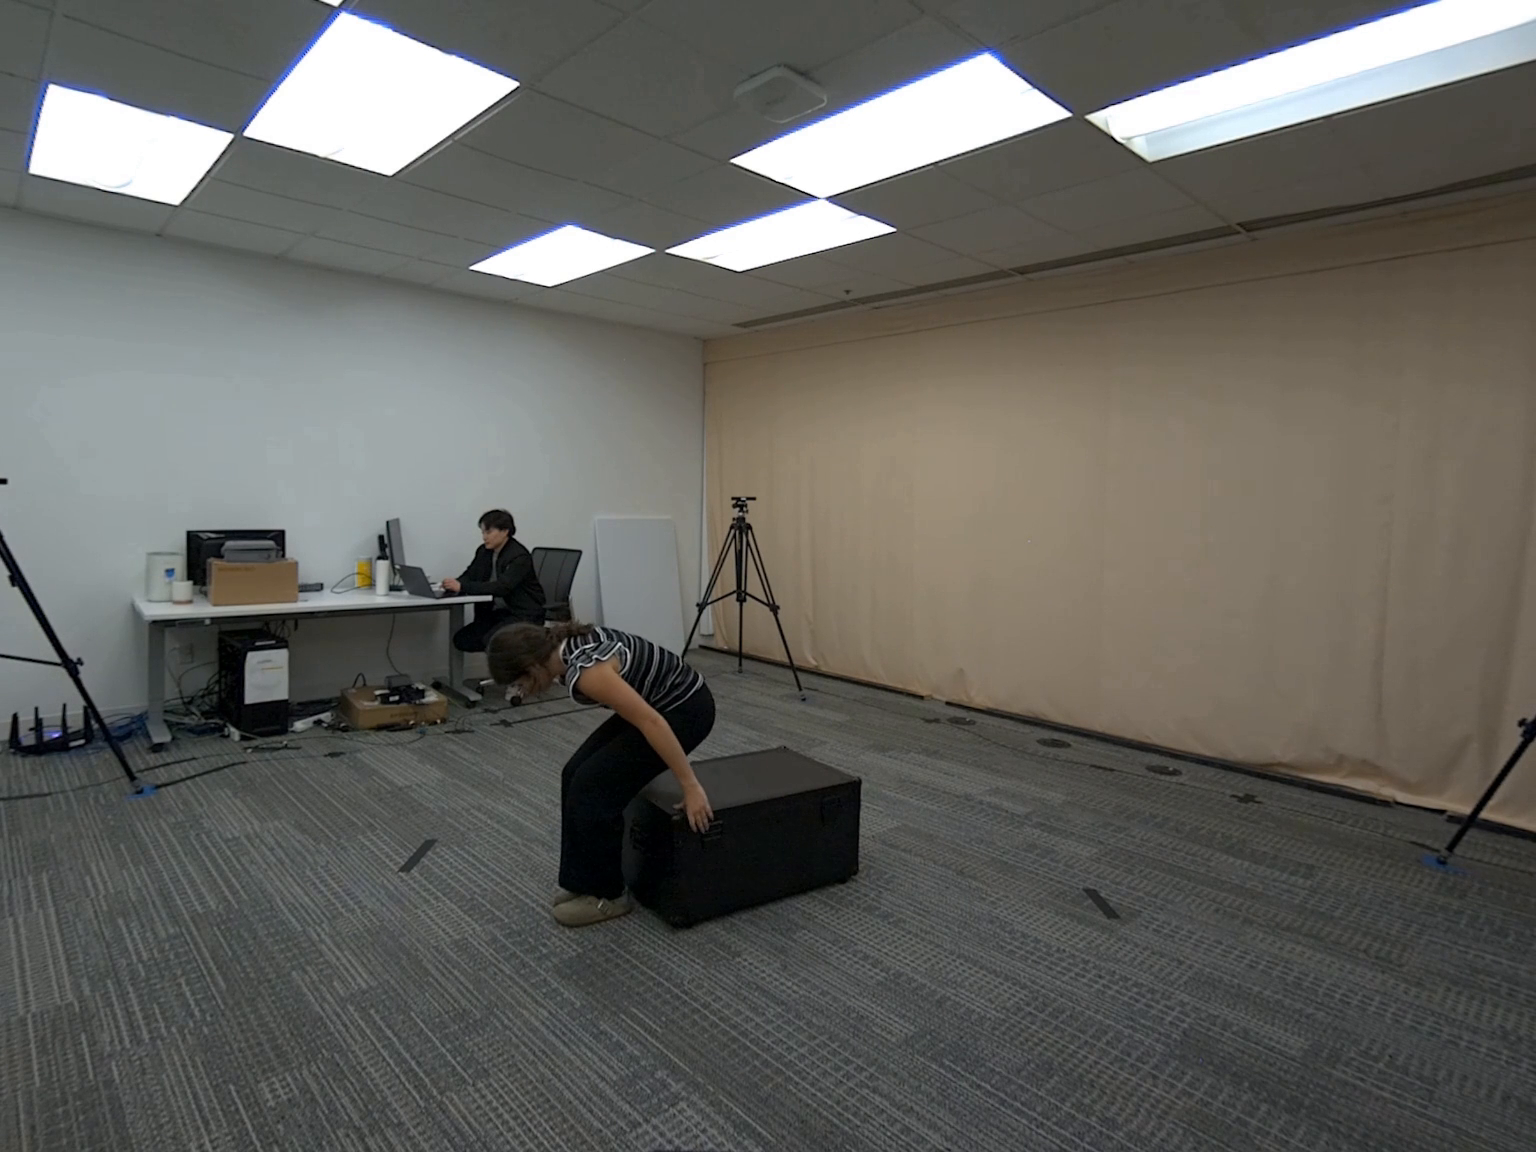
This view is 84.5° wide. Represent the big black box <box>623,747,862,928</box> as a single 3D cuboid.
[{"bbox_3d":[-0.091,0.920,3.086,0.843,0.395,0.534,-3,6,-34],"label":"big black box"}]
